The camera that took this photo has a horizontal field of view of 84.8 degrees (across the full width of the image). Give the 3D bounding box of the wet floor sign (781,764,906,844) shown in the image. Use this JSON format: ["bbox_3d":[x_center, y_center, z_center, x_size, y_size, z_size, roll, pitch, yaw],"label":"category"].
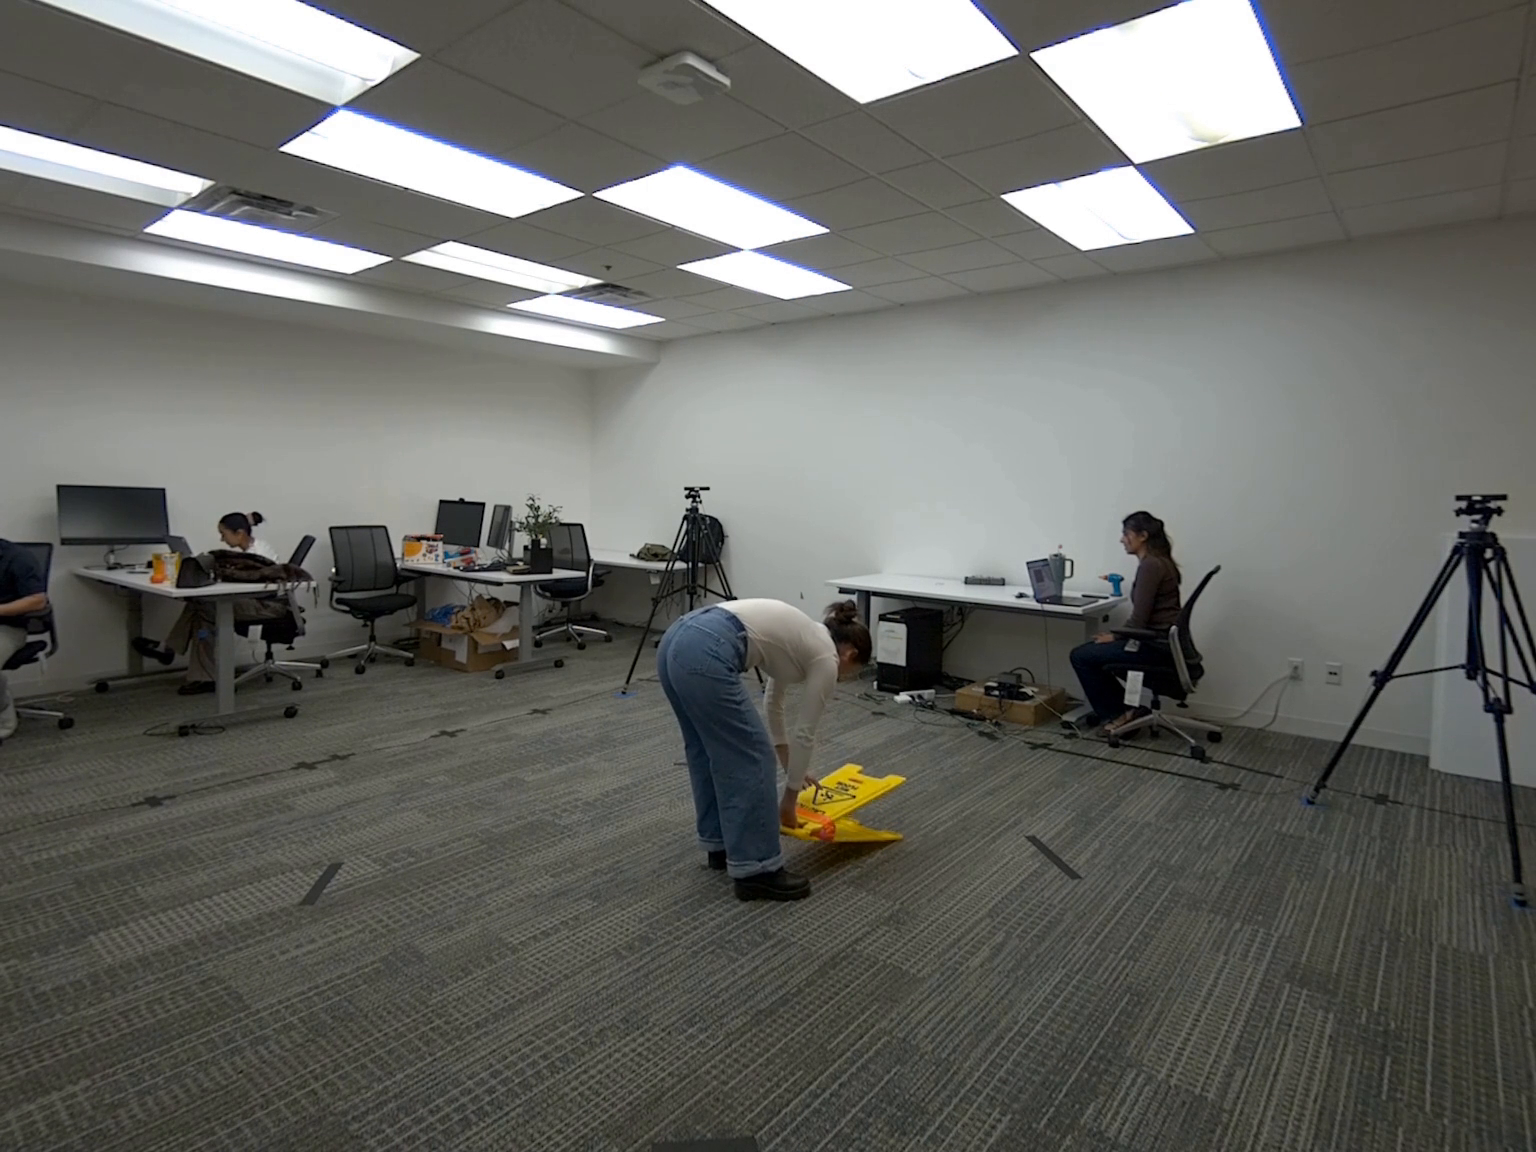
[{"bbox_3d":[0.243,0.922,3.272,0.292,0.290,0.625,4,1,41],"label":"wet floor sign"}]
